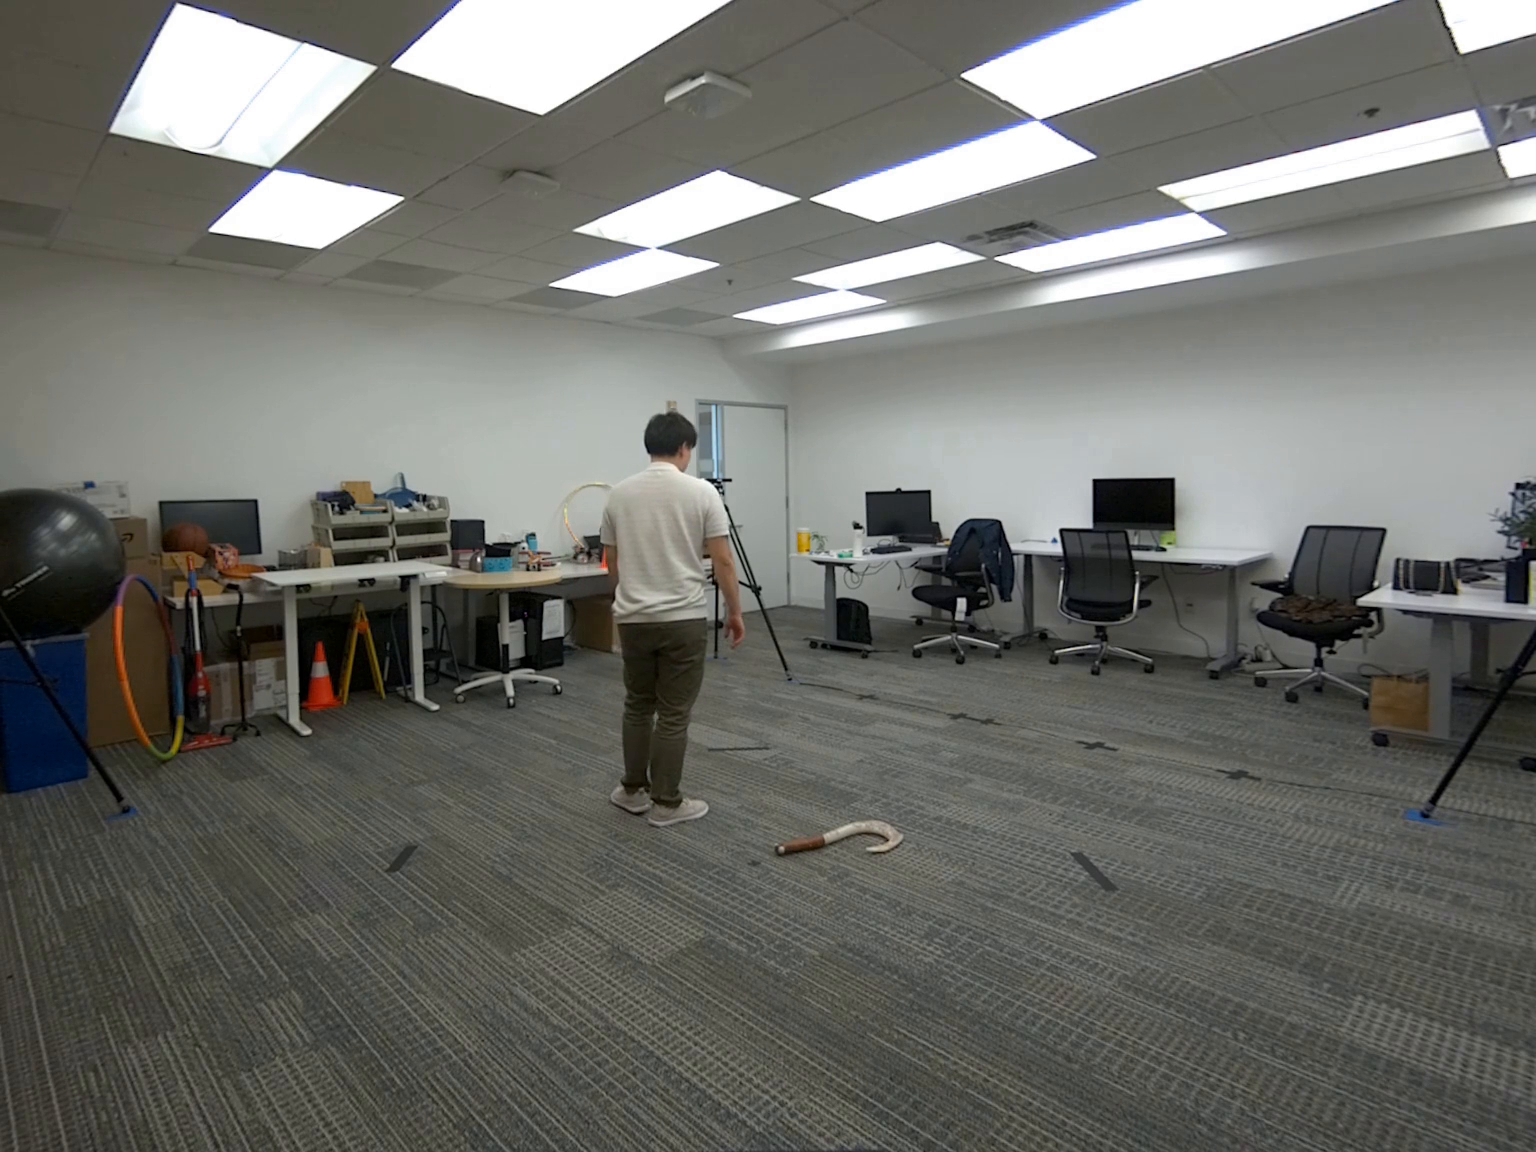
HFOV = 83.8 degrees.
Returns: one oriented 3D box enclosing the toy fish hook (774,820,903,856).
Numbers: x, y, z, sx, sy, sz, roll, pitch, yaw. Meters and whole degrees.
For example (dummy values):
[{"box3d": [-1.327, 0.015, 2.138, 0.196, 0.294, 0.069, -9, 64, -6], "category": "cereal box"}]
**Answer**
[{"box3d": [0.277, 1.003, 3.219, 0.496, 0.048, 0.230, -5, 6, -25], "category": "toy fish hook"}]
